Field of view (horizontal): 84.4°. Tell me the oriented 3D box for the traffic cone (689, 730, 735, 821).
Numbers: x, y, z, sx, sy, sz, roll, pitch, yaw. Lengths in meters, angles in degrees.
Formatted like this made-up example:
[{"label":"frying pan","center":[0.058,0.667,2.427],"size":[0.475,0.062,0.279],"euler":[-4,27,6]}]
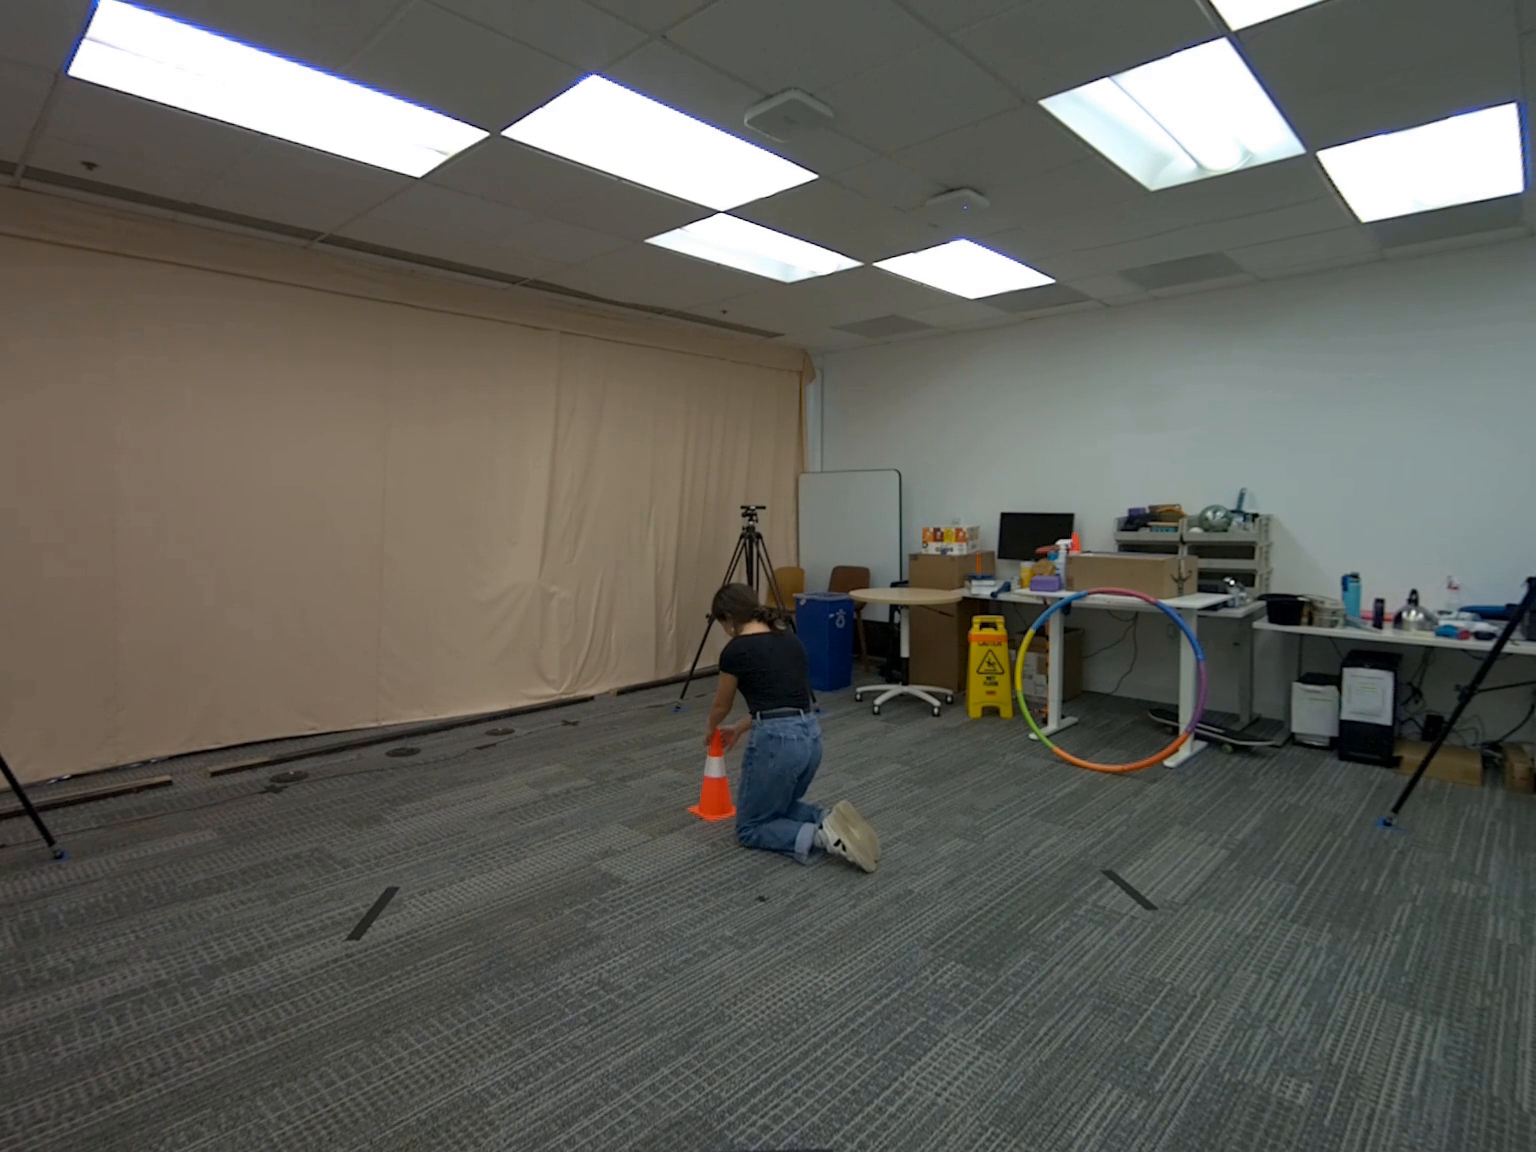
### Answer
[{"label":"traffic cone","center":[-0.232,0.888,3.857],"size":[0.199,0.383,0.209],"euler":[1,2,-32]}]
